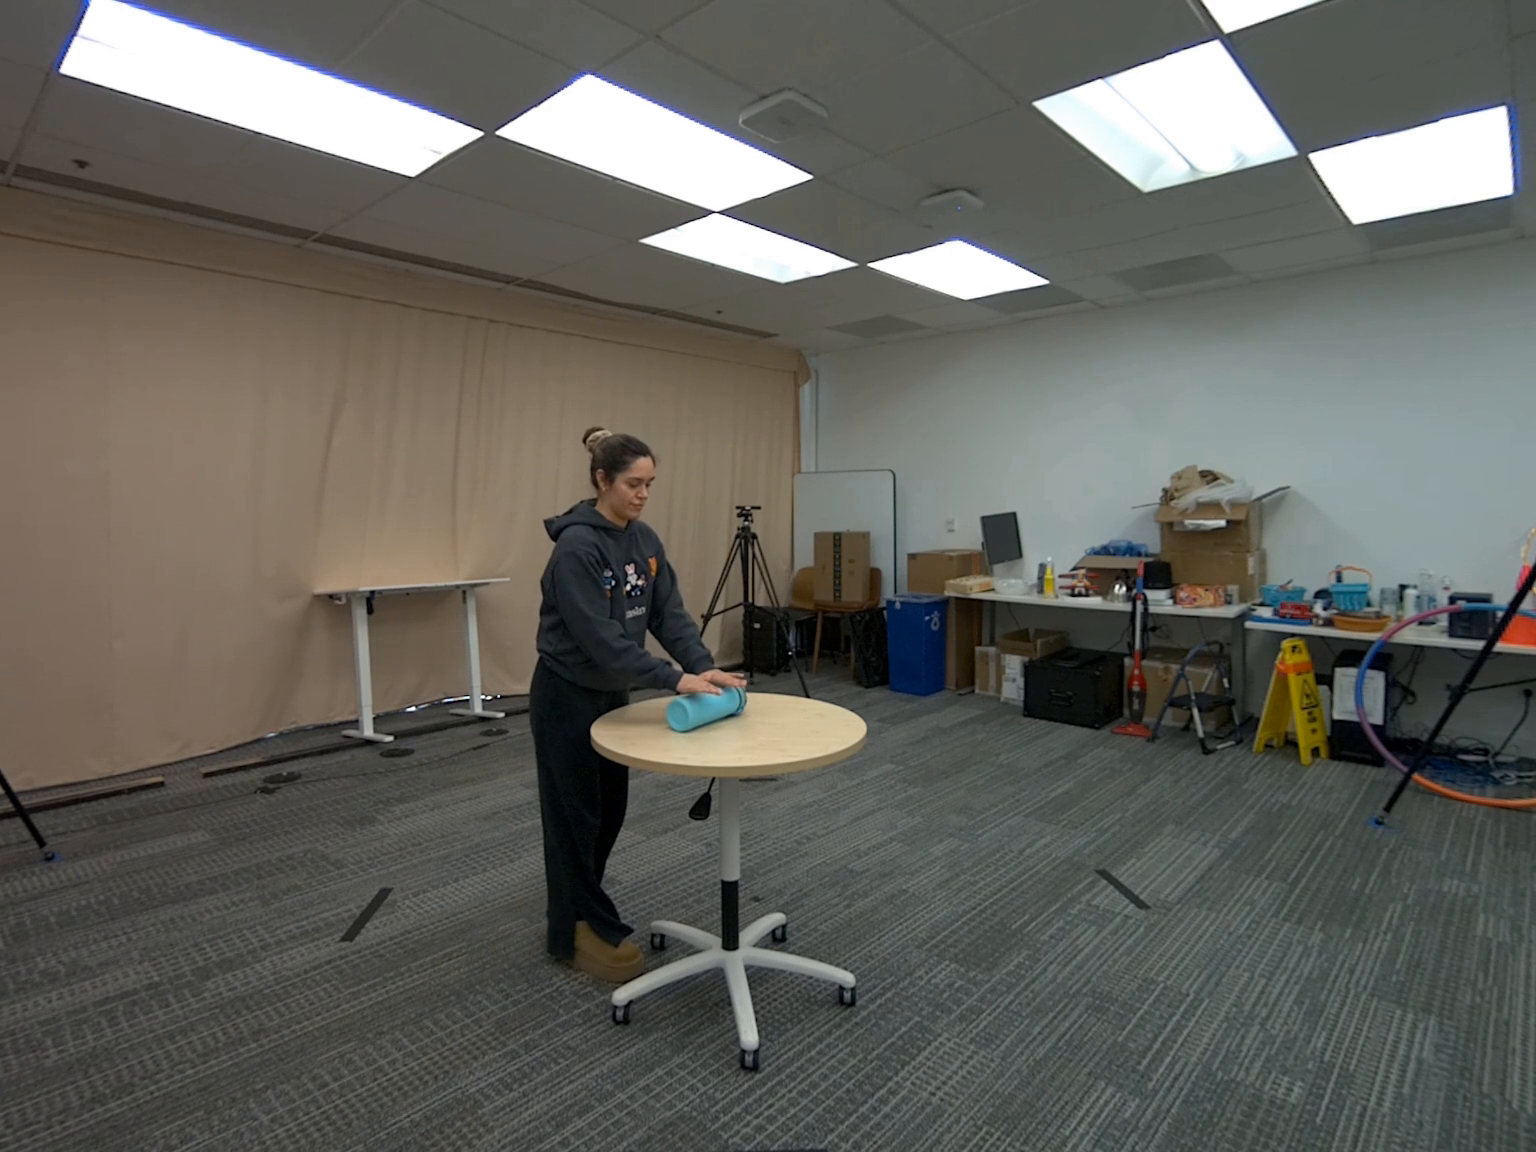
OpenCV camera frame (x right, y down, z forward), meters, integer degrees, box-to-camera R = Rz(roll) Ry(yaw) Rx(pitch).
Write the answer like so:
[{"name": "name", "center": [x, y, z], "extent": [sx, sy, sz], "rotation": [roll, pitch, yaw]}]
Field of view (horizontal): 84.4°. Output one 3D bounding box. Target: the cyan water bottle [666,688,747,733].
[{"name": "cyan water bottle", "center": [-0.149, 0.368, 2.376], "extent": [0.095, 0.092, 0.275], "rotation": [3, 8, 38]}]
